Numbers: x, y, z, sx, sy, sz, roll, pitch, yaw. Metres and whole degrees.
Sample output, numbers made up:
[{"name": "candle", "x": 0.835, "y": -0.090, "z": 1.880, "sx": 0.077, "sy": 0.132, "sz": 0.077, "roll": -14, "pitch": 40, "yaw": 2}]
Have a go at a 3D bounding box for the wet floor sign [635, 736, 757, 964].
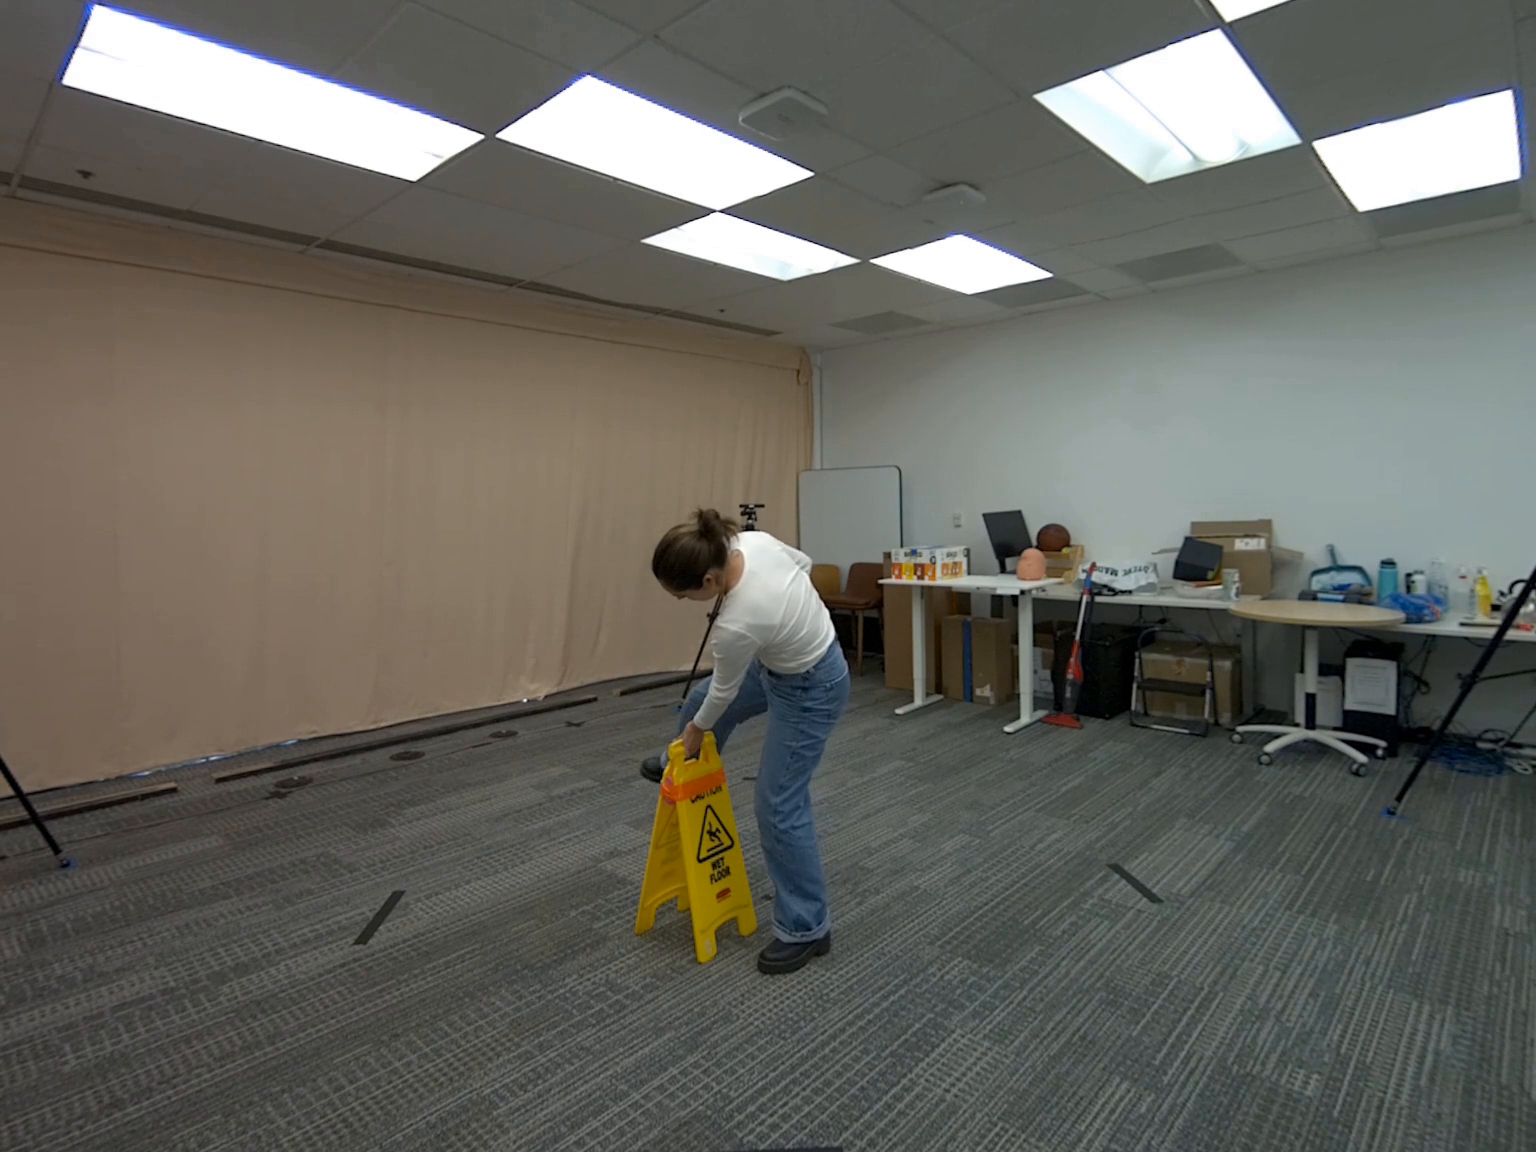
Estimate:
[{"name": "wet floor sign", "x": -0.241, "y": 0.846, "z": 2.734, "sx": 0.299, "sy": 0.645, "sz": 0.274, "roll": 2, "pitch": 4, "yaw": 39}]
